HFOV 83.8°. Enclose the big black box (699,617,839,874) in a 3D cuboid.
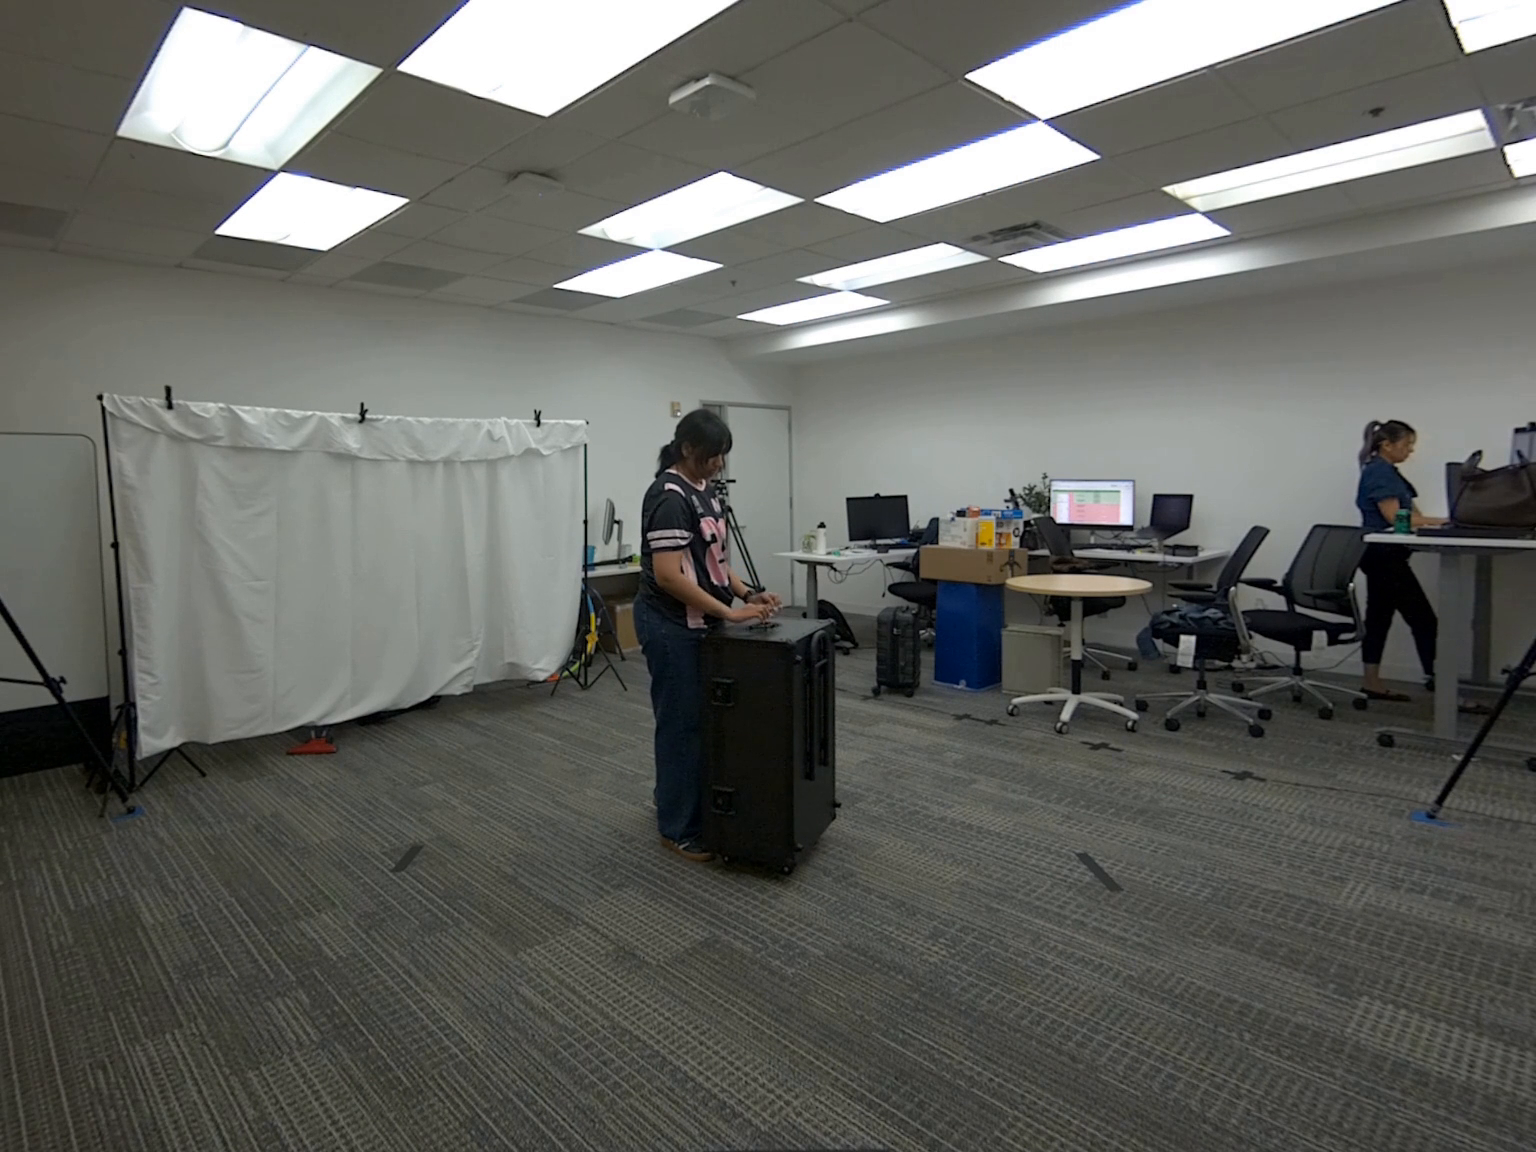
[{"bbox_3d":[0.027,0.618,3.173,0.405,0.858,0.512,2,5,23],"label":"big black box"}]
